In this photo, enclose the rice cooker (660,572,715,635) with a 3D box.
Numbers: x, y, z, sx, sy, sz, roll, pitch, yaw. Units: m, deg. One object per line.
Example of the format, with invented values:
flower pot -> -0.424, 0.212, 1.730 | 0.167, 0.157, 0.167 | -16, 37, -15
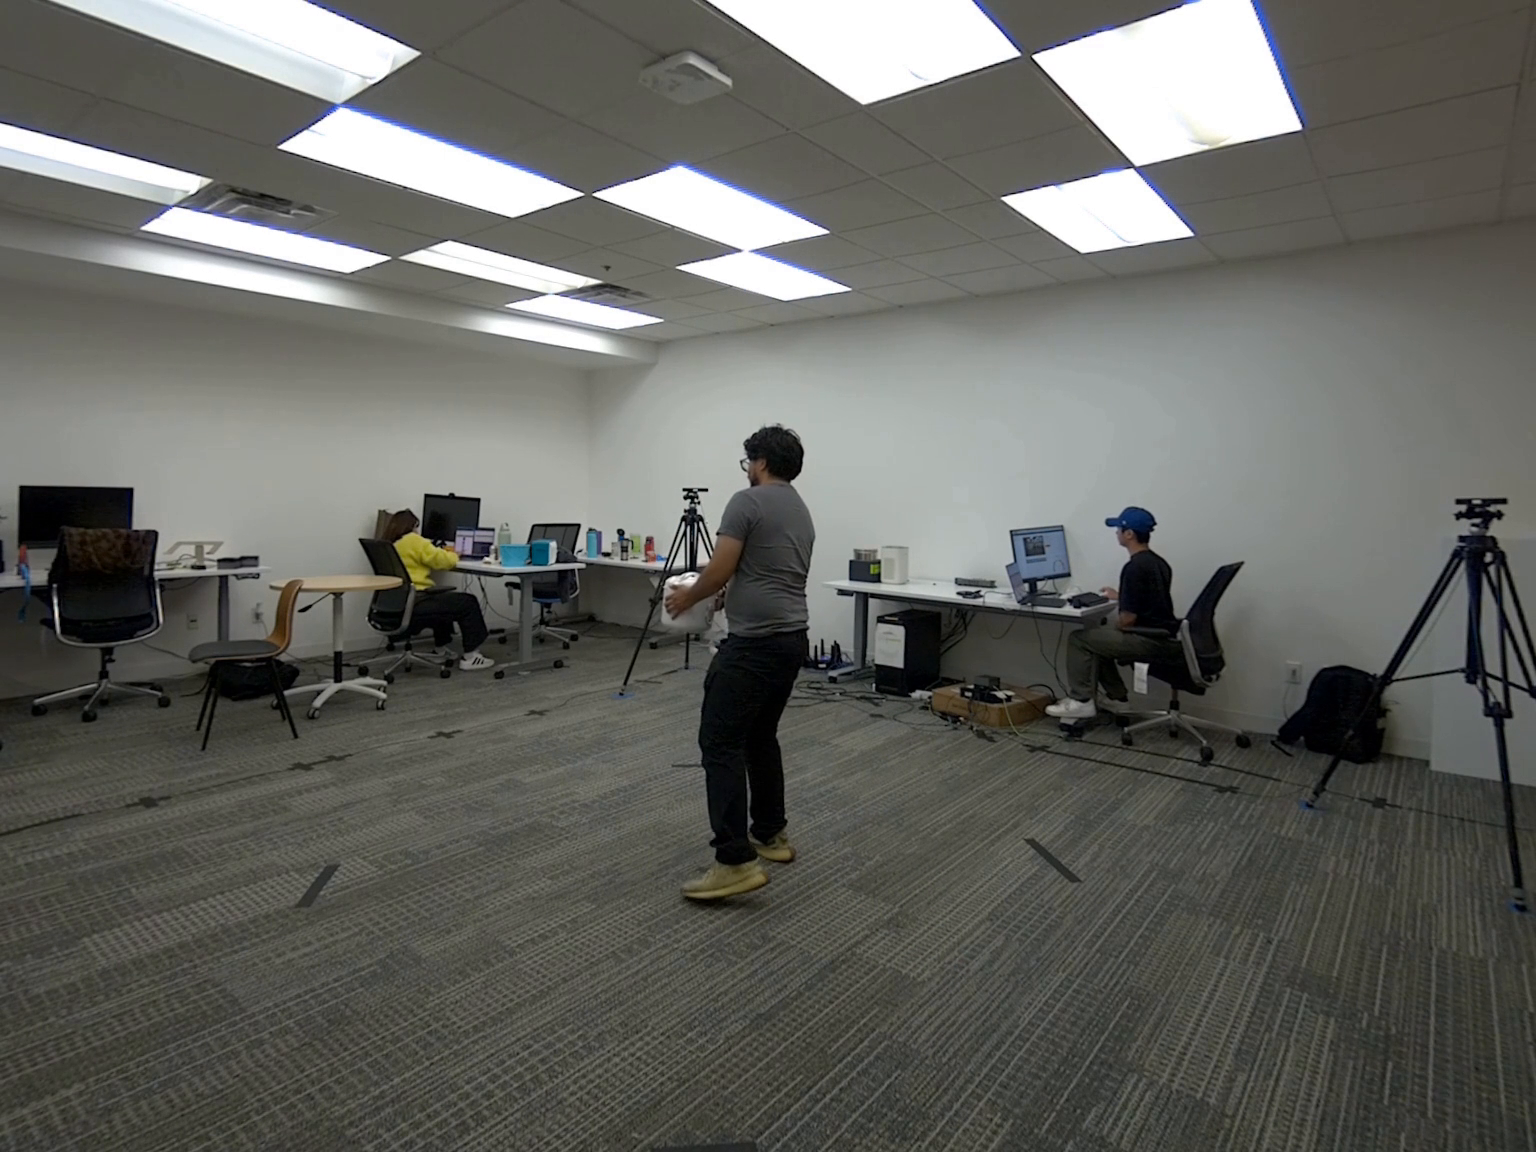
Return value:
rice cooker -> -0.325, 0.098, 3.419 | 0.224, 0.232, 0.215 | 6, 4, 29
